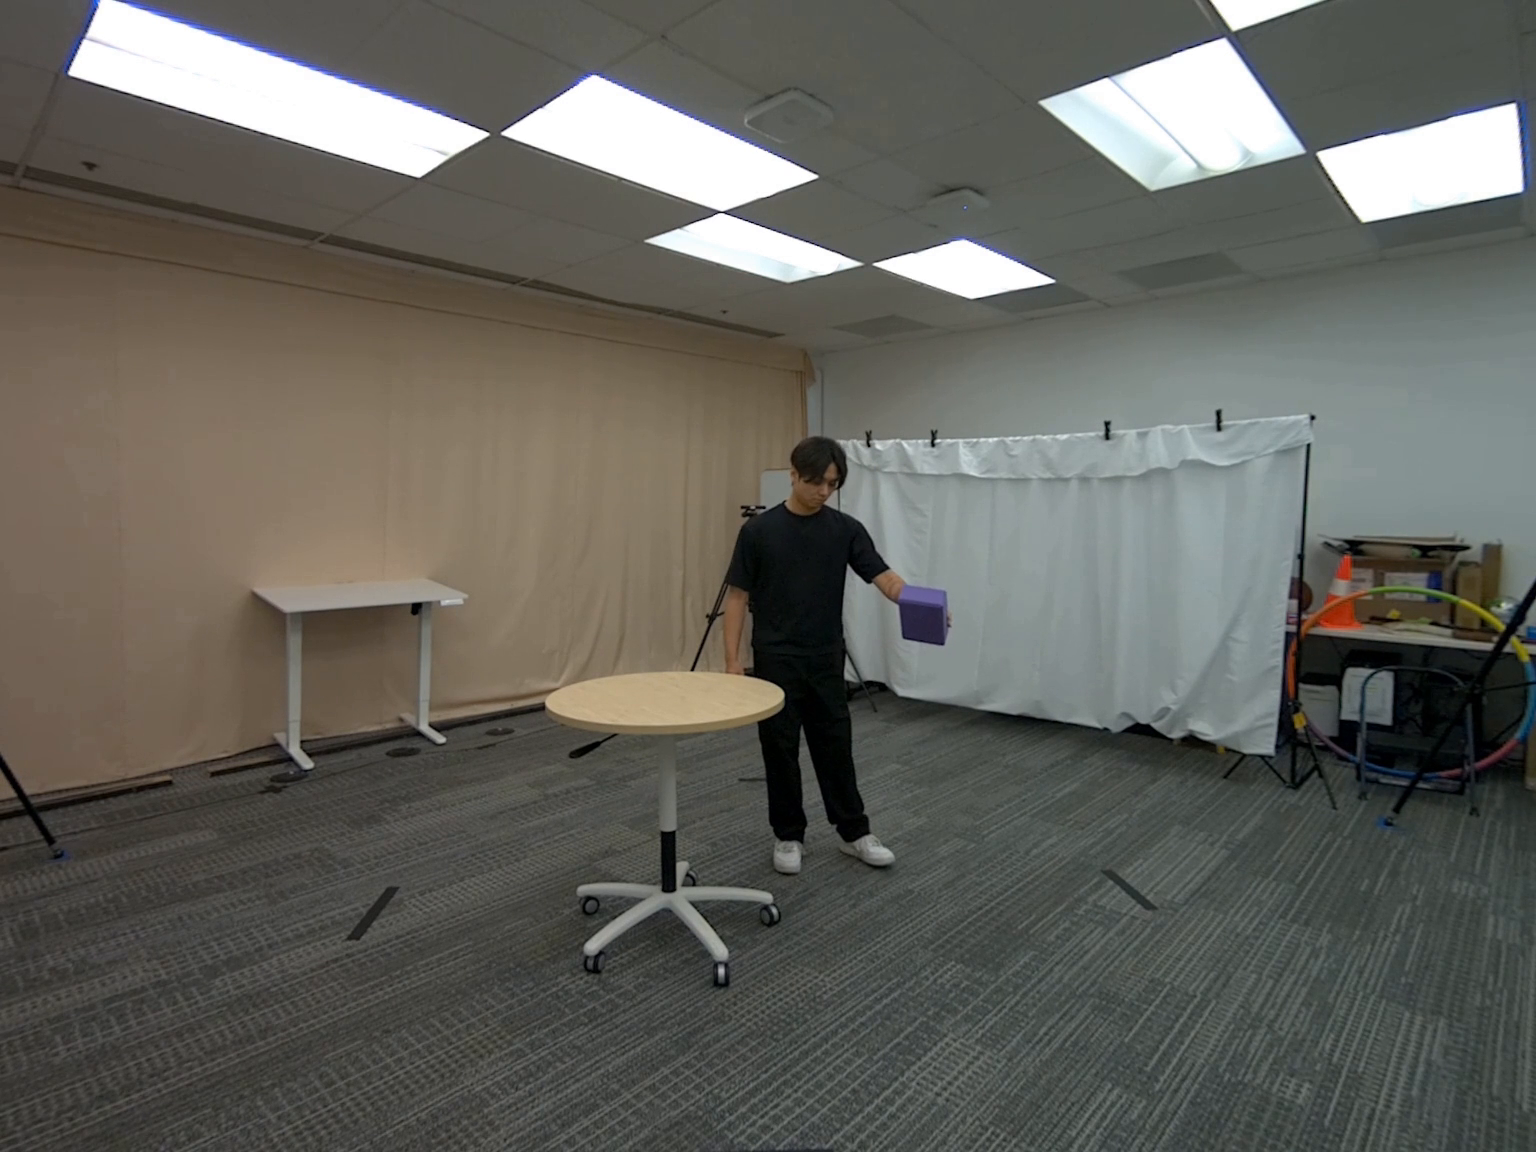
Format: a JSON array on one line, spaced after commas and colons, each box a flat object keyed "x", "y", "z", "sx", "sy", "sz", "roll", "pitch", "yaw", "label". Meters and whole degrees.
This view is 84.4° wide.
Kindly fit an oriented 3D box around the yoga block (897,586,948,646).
[{"x": 0.531, "y": 0.136, "z": 2.843, "sx": 0.152, "sy": 0.223, "sz": 0.076, "roll": 9, "pitch": 50, "yaw": 20, "label": "yoga block"}]
